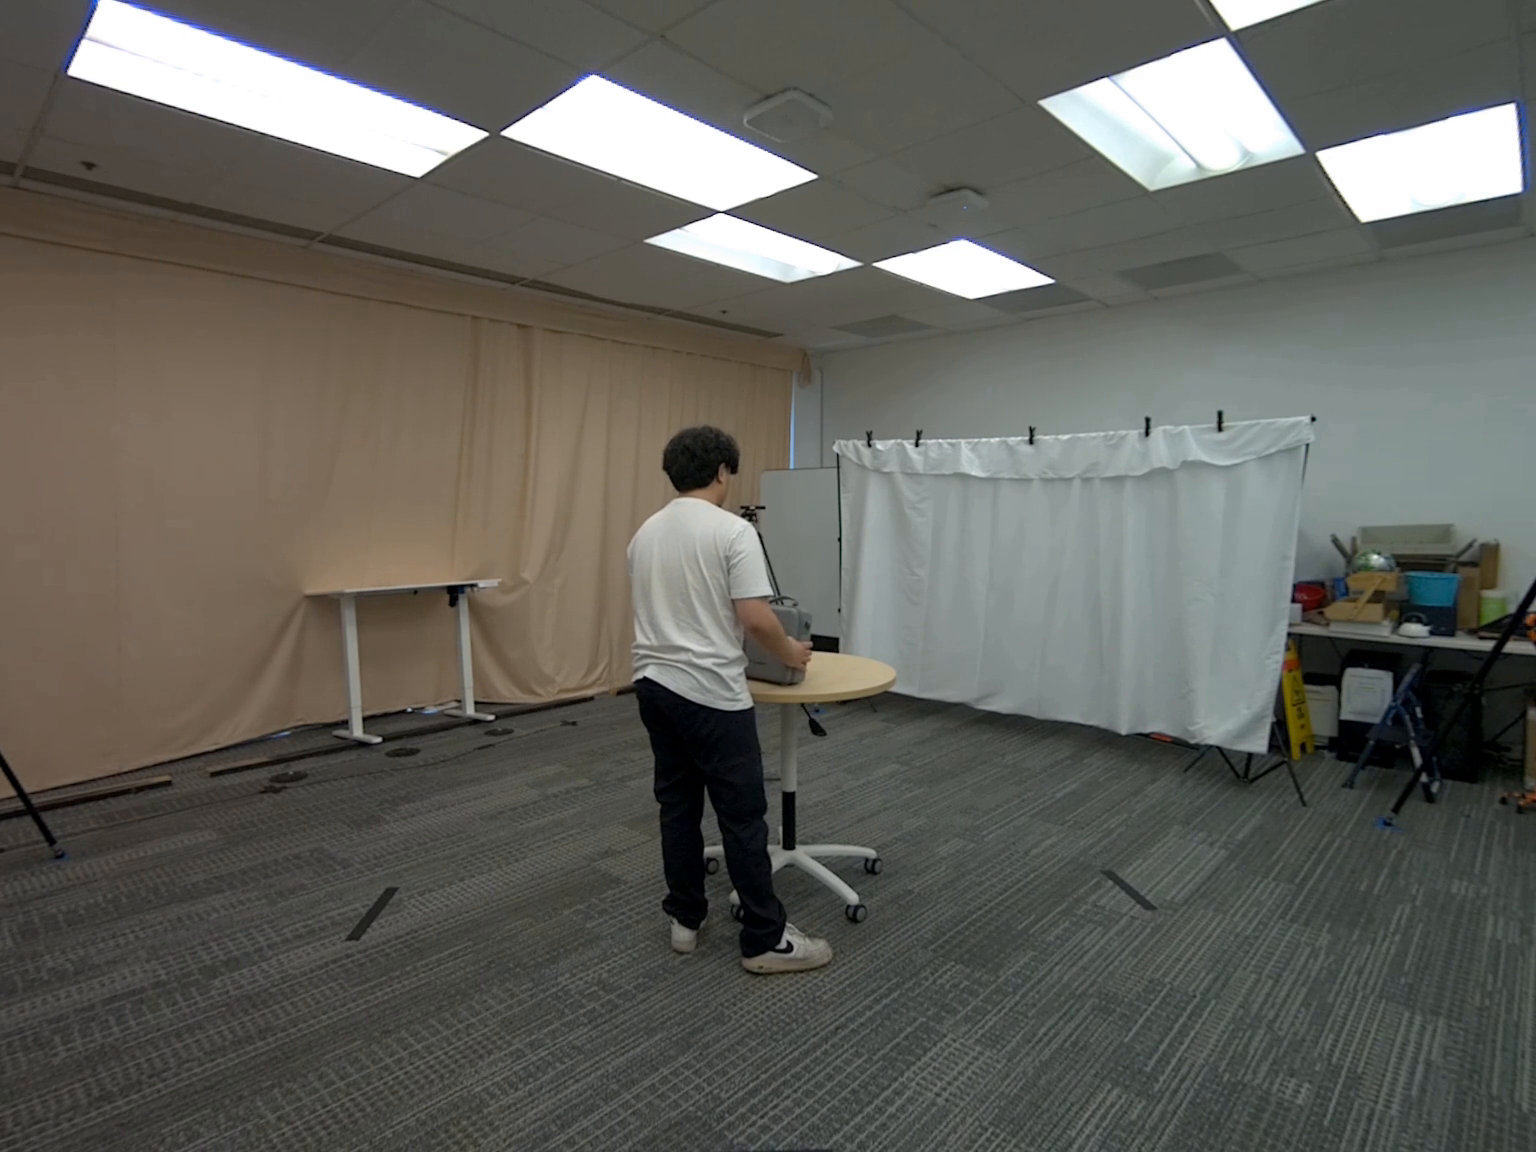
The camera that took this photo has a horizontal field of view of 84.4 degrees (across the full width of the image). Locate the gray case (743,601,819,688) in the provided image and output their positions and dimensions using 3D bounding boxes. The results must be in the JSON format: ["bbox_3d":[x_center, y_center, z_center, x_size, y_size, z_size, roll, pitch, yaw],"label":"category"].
[{"bbox_3d":[0.024,0.222,2.879,0.101,0.261,0.265,13,-5,-40],"label":"gray case"}]
